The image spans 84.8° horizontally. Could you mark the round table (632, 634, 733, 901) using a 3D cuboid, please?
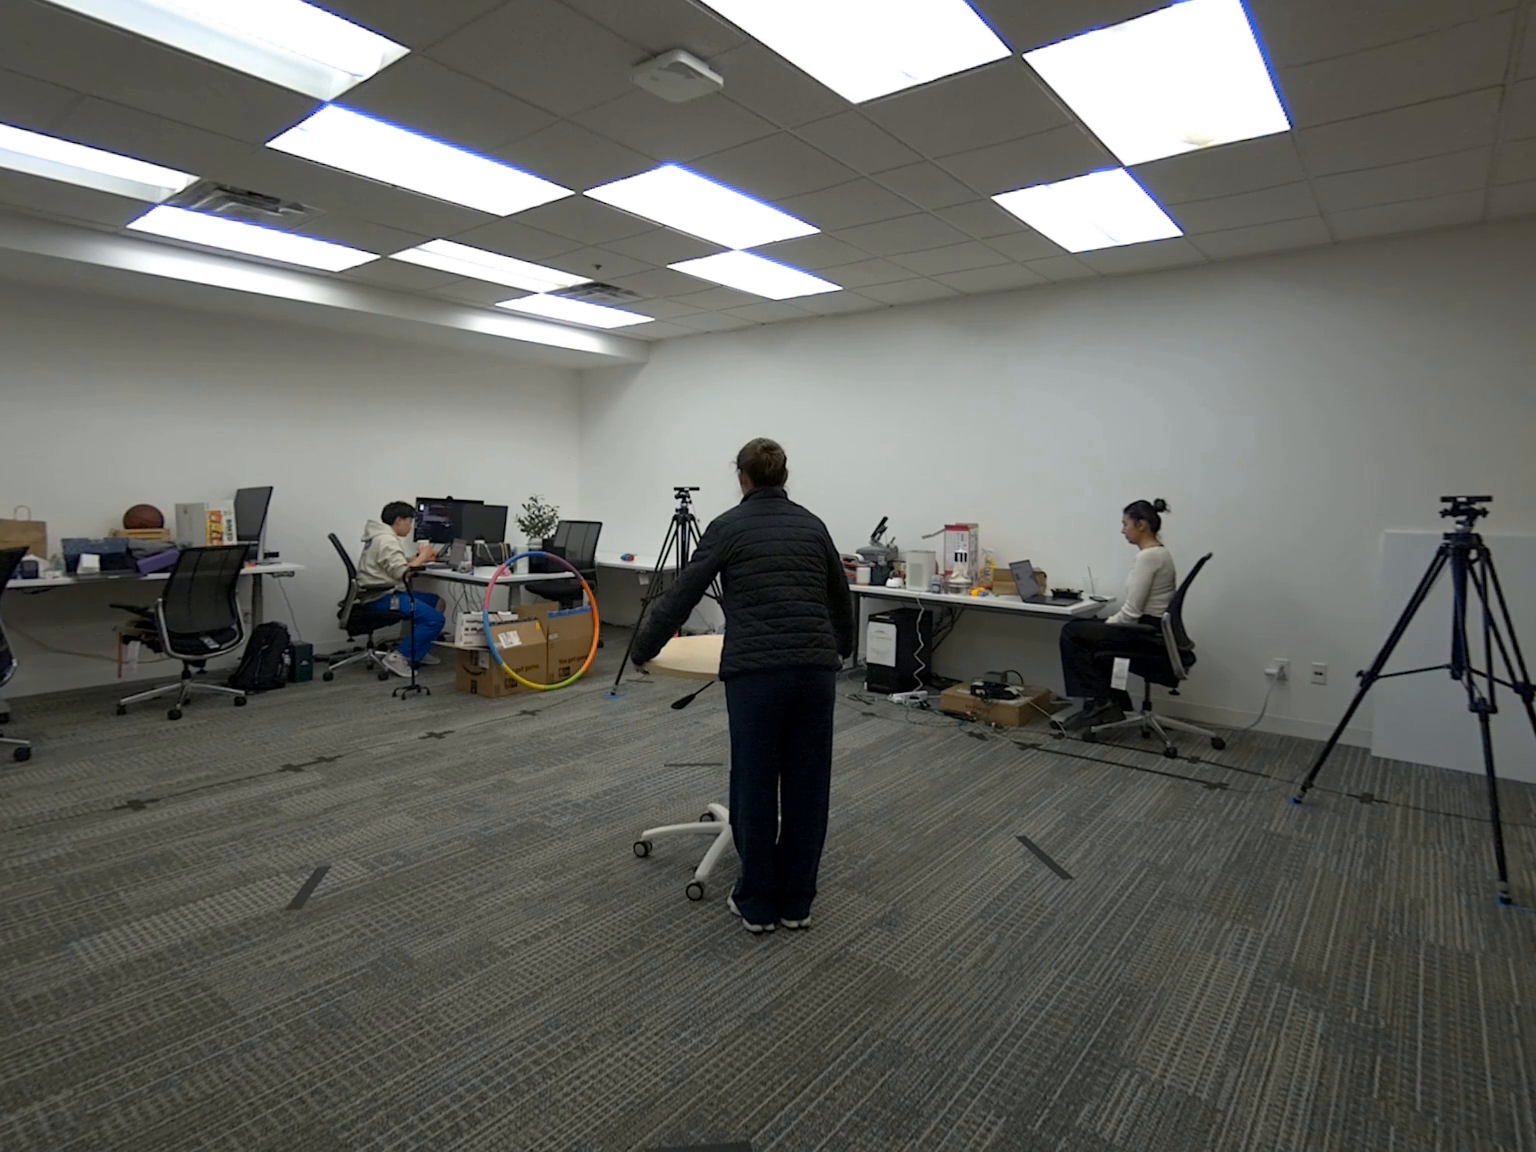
[{"bbox_3d":[-0.092,0.666,3.171,0.784,0.784,0.789,1,4,-2],"label":"round table"}]
